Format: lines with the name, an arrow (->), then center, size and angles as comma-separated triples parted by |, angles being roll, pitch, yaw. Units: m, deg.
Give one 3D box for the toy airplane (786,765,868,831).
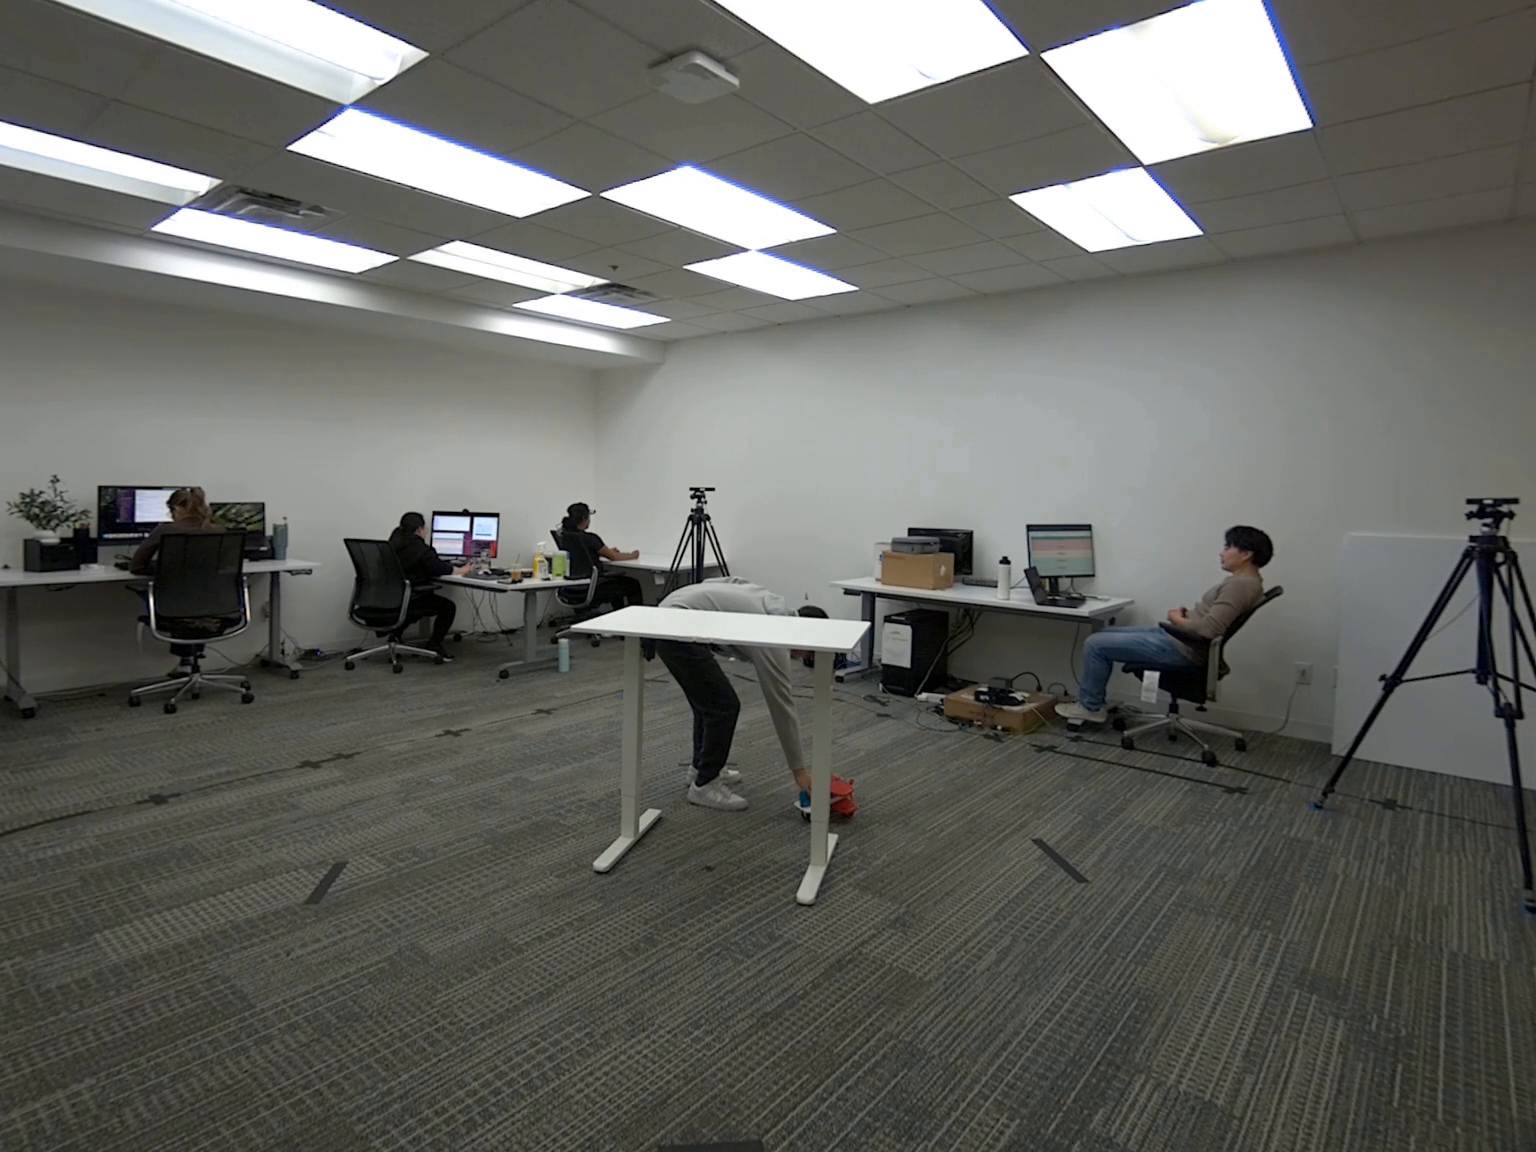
toy airplane -> 0.256, 0.950, 3.623 | 0.259, 0.156, 0.252 | 4, 5, 34
